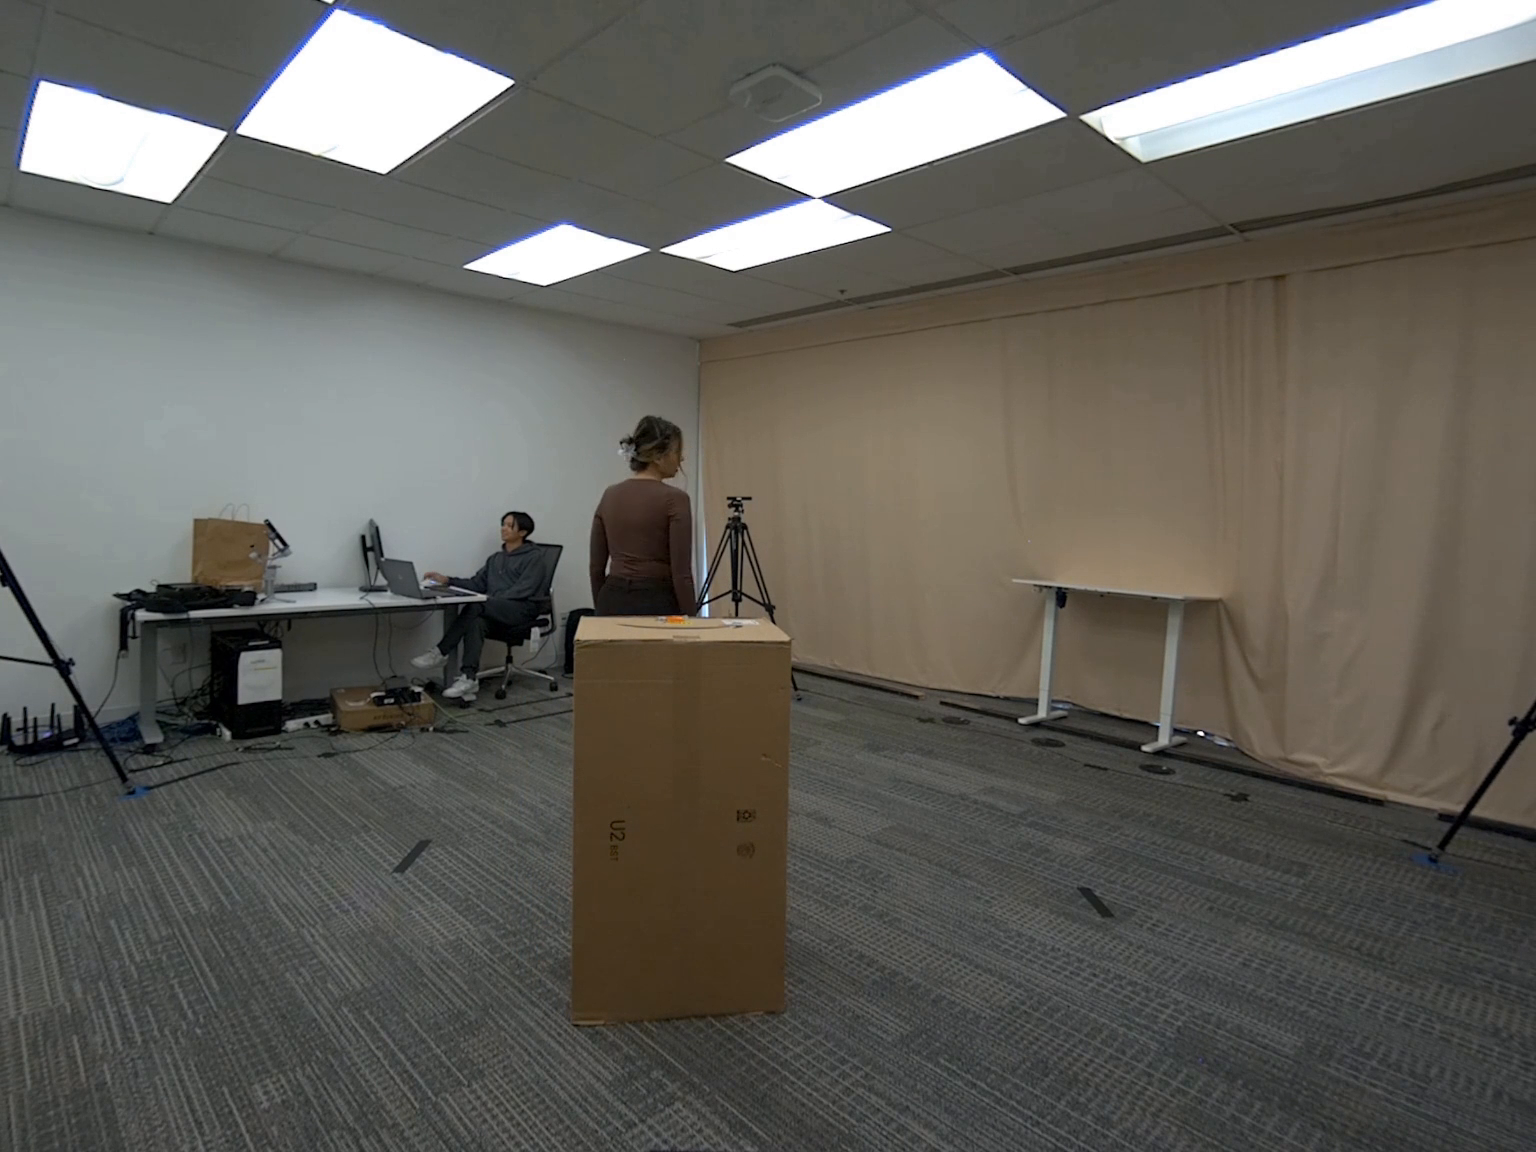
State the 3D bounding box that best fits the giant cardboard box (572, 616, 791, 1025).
[{"bbox_3d":[-0.266,0.652,2.422,0.580,1.024,0.451,1,3,-8],"label":"giant cardboard box"}]
